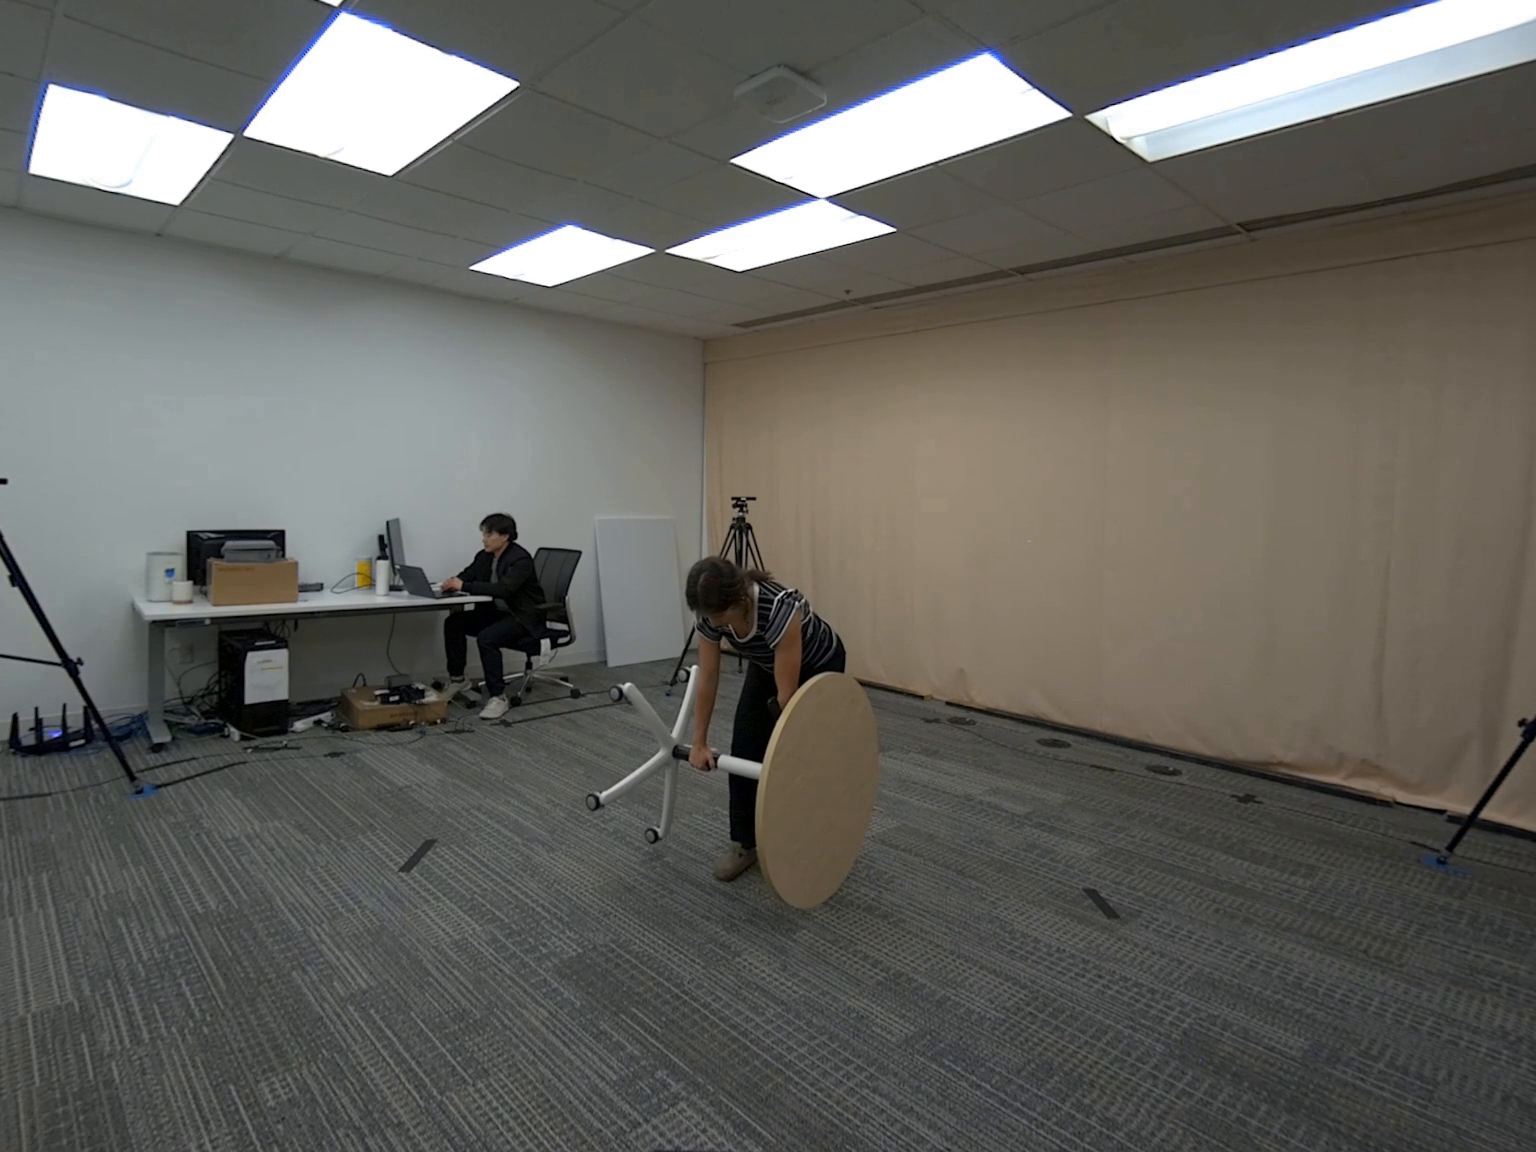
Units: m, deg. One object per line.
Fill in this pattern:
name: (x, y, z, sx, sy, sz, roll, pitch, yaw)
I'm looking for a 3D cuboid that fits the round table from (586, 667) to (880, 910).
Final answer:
round table: (-0.142, 0.693, 3.039, 0.813, 0.762, 0.748, 3, 4, 36)
